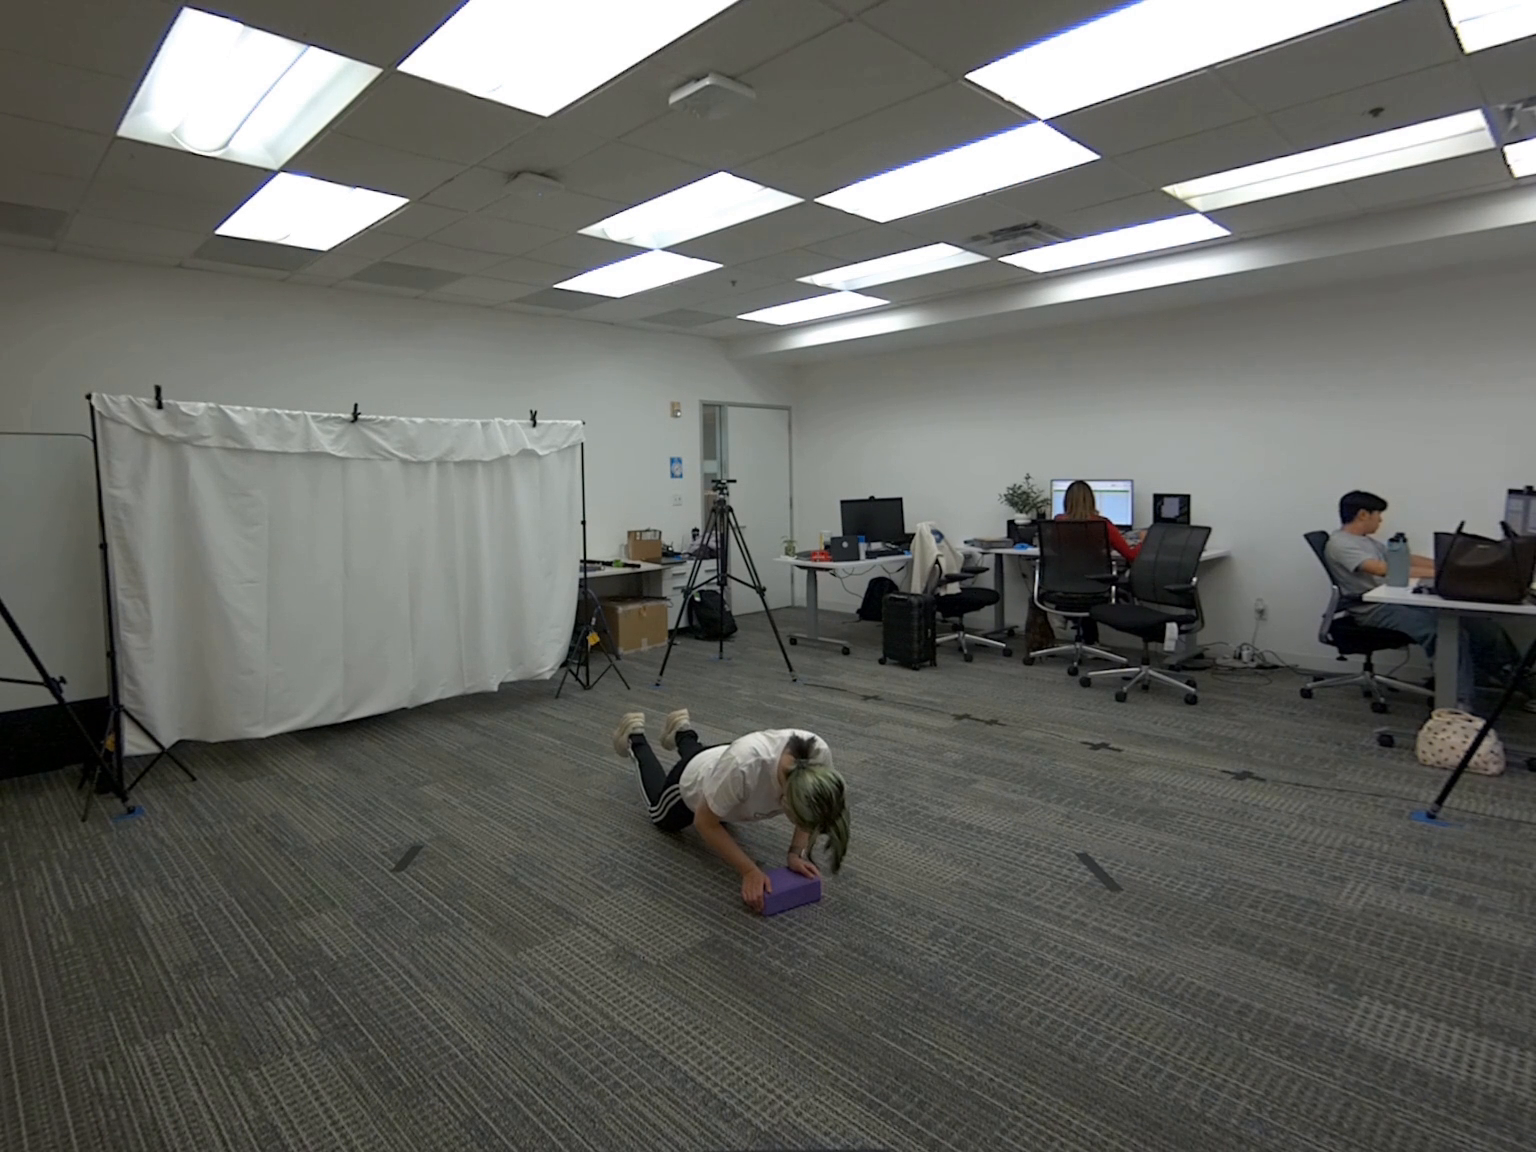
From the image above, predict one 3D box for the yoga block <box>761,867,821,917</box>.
[{"bbox_3d":[0.046,1.041,2.837,0.224,0.076,0.153,-4,7,-31],"label":"yoga block"}]
